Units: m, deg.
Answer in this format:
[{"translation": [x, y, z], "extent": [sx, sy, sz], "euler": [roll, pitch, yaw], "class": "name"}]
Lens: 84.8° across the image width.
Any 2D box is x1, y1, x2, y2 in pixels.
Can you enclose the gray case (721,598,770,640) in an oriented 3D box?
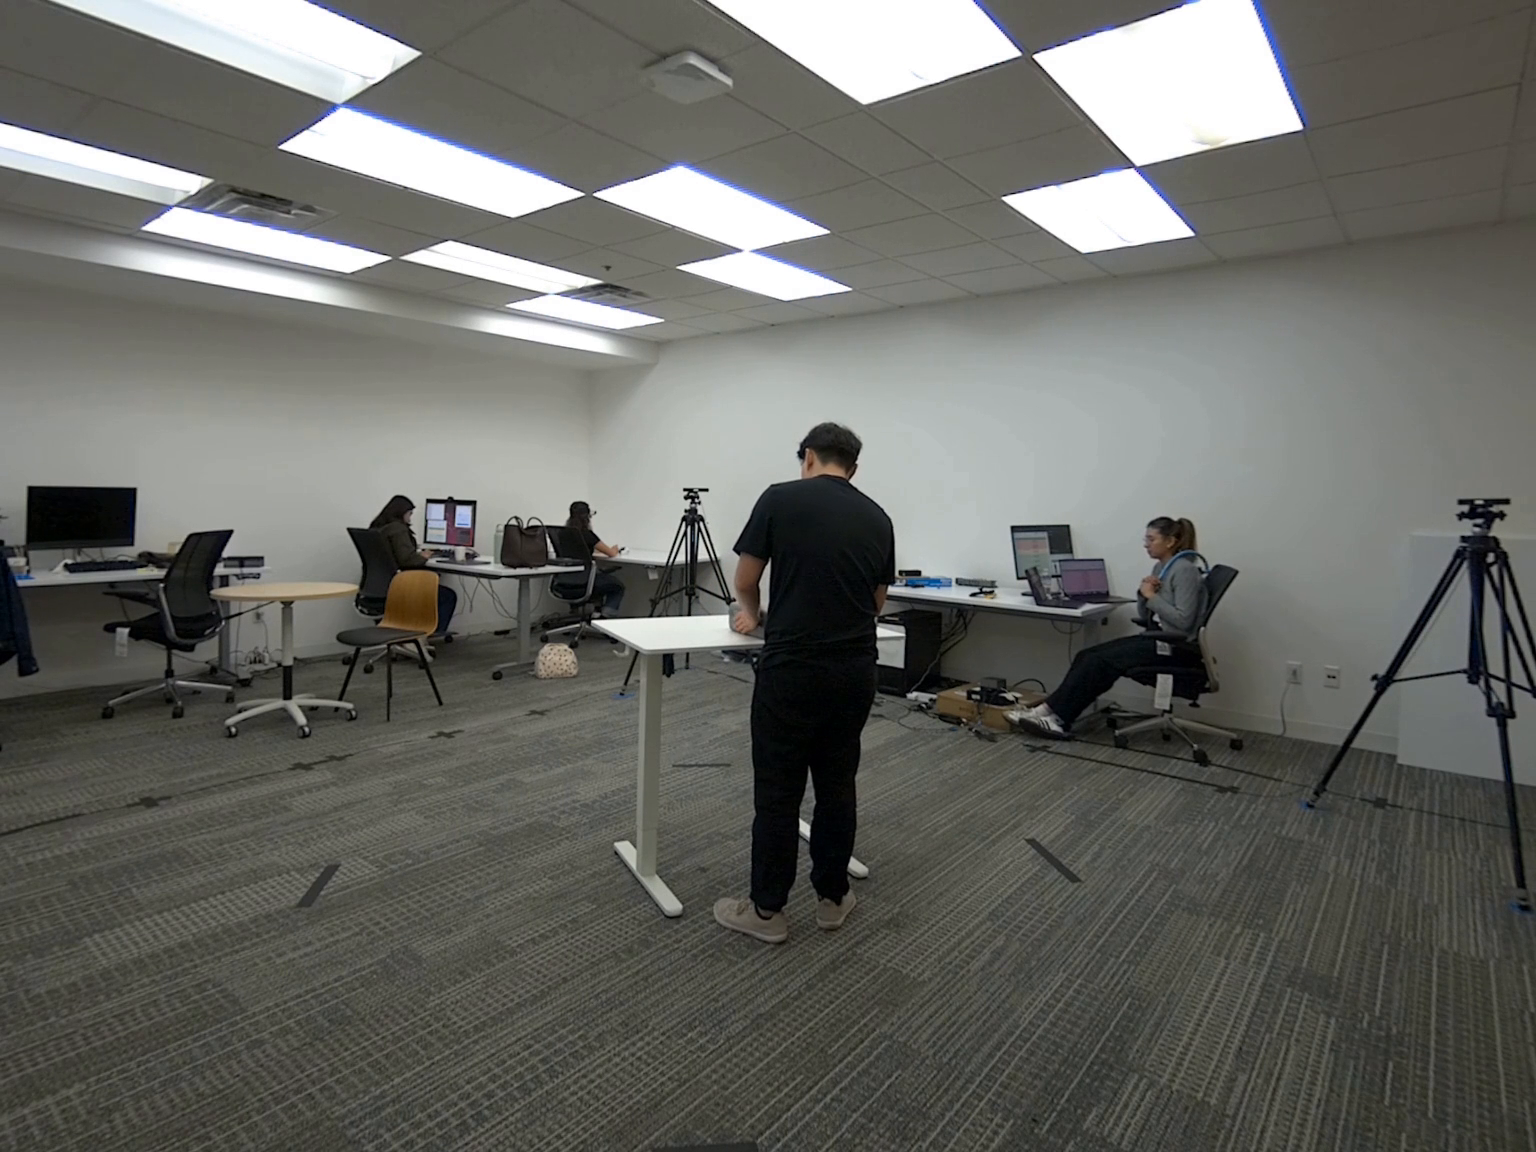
[{"translation": [0.009, 0.149, 3.033], "extent": [0.253, 0.104, 0.265], "euler": [-2, 5, -35], "class": "gray case"}]
